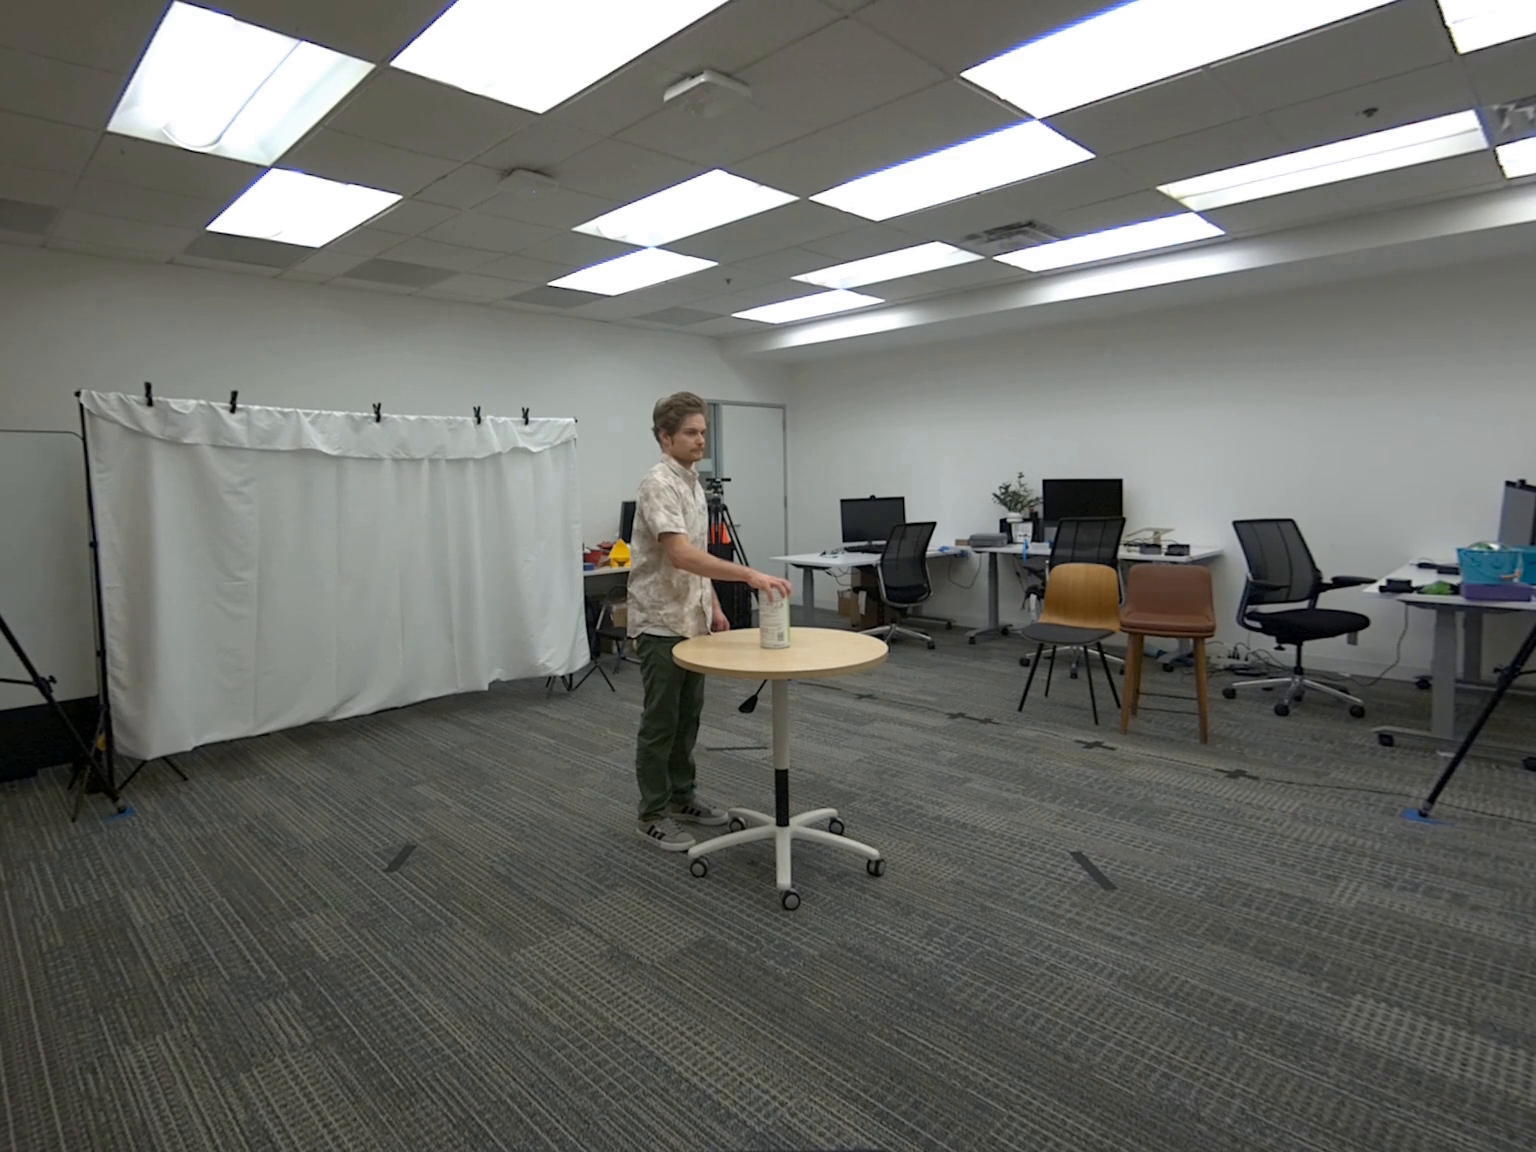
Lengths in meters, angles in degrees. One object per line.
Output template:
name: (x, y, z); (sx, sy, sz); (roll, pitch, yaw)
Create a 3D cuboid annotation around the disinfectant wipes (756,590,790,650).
disinfectant wipes: (0.023, 0.148, 3.064); (0.118, 0.217, 0.118); (0, 3, -2)
